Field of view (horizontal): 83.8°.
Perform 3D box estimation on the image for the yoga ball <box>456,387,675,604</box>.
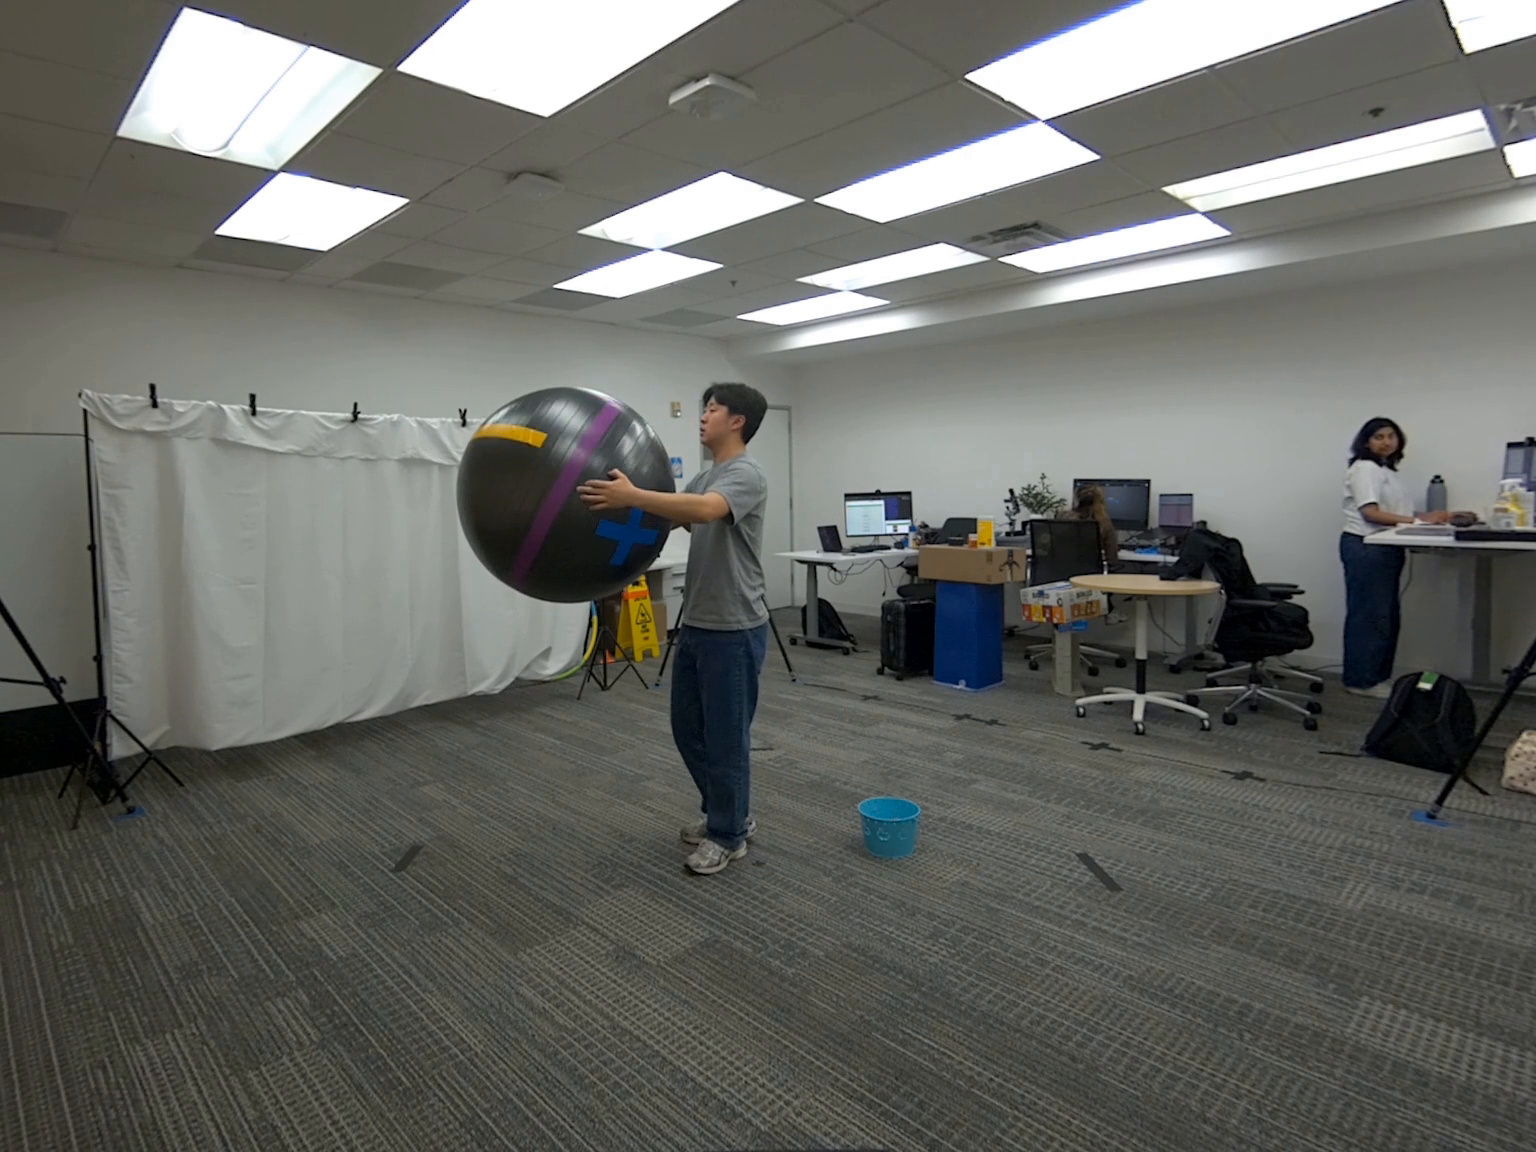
[{"bbox_3d":[-0.719,-0.278,3.007,0.757,0.755,0.762,-1,5,-2],"label":"yoga ball"}]
